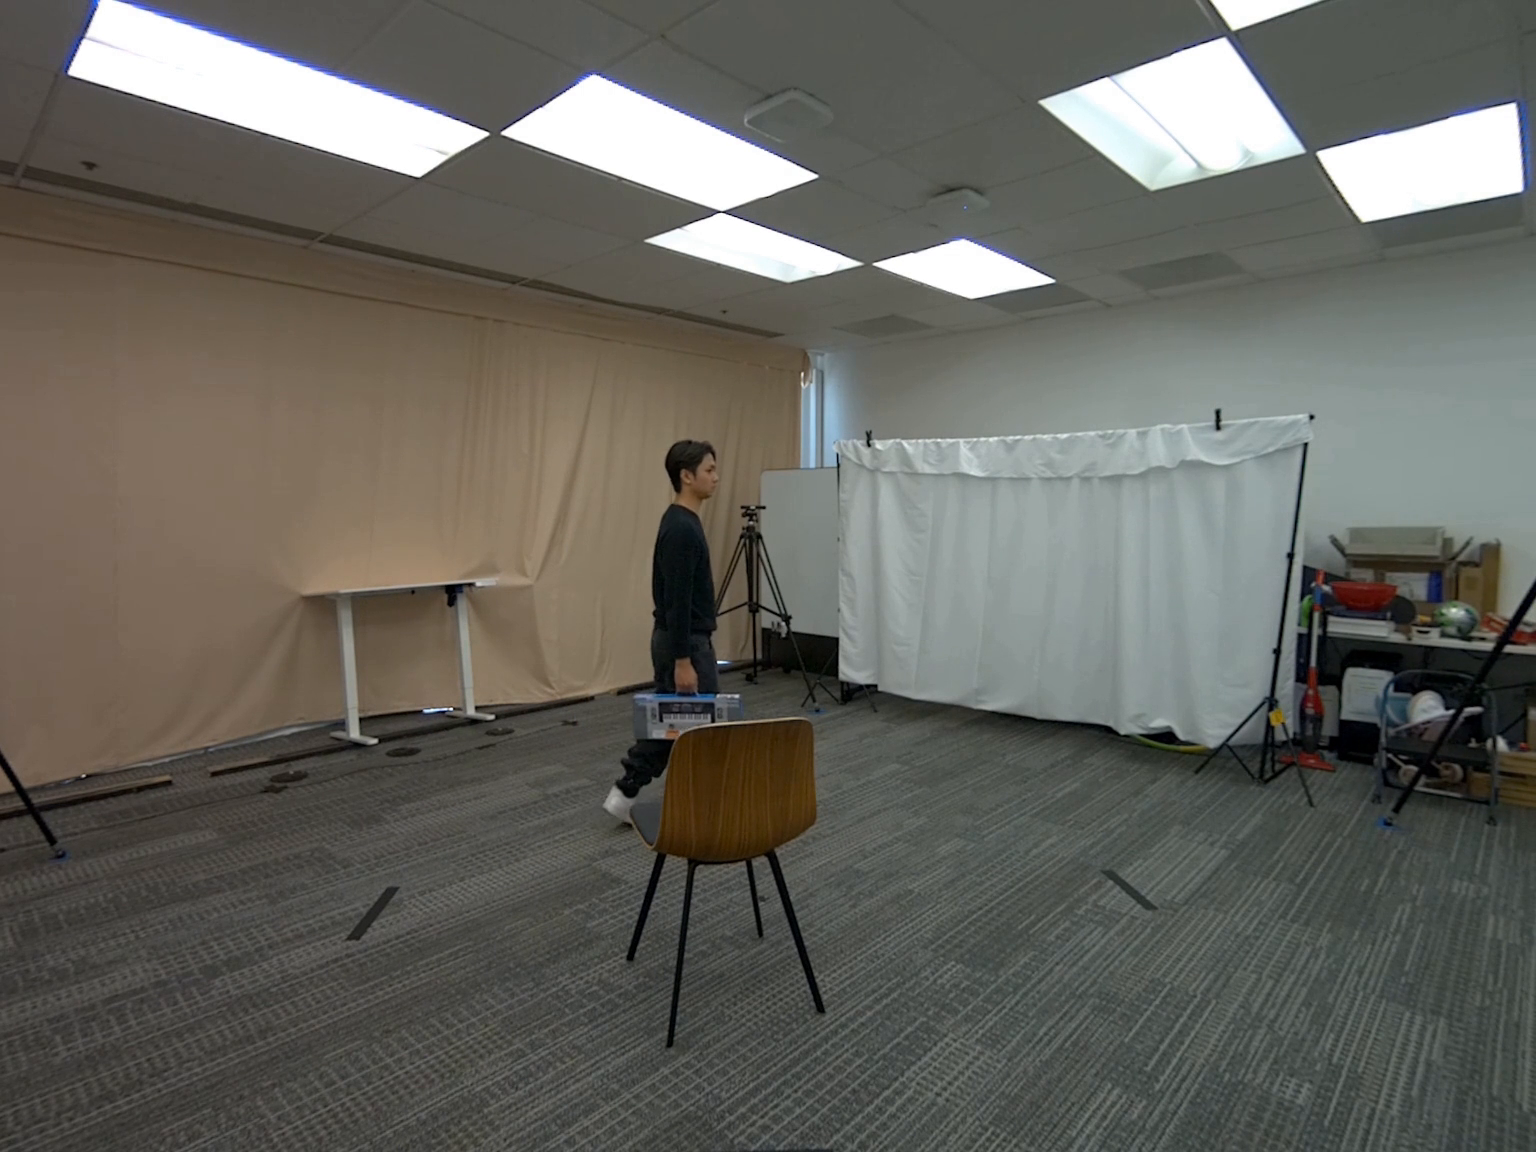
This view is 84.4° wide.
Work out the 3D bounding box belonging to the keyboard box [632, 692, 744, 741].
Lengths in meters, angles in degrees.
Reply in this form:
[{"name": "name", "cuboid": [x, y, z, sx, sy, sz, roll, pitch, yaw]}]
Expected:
[{"name": "keyboard box", "cuboid": [-0.325, 0.556, 3.367, 0.440, 0.175, 0.059, 2, 7, 7]}]
